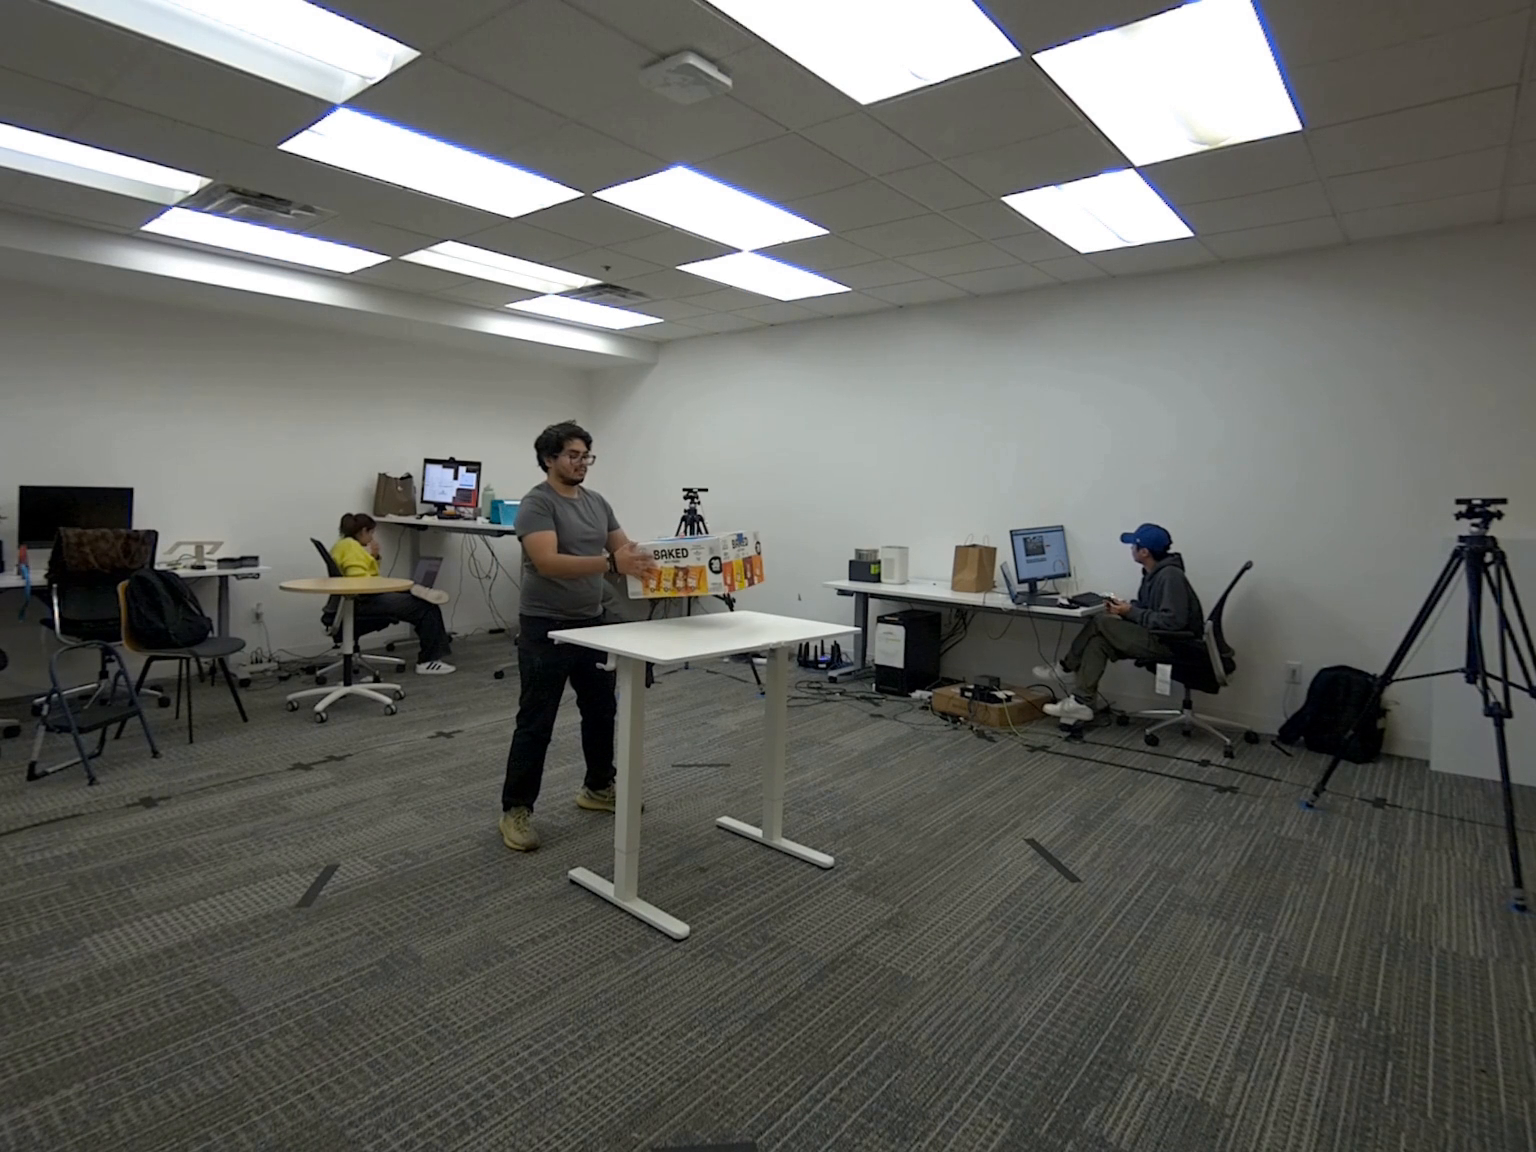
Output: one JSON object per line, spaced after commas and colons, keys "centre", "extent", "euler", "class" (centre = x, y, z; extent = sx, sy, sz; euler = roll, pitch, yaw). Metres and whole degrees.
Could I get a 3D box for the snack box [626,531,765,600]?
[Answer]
{"centre": [-0.291, -0.049, 3.242], "extent": [0.415, 0.205, 0.333], "euler": [-3, 5, 26], "class": "snack box"}
